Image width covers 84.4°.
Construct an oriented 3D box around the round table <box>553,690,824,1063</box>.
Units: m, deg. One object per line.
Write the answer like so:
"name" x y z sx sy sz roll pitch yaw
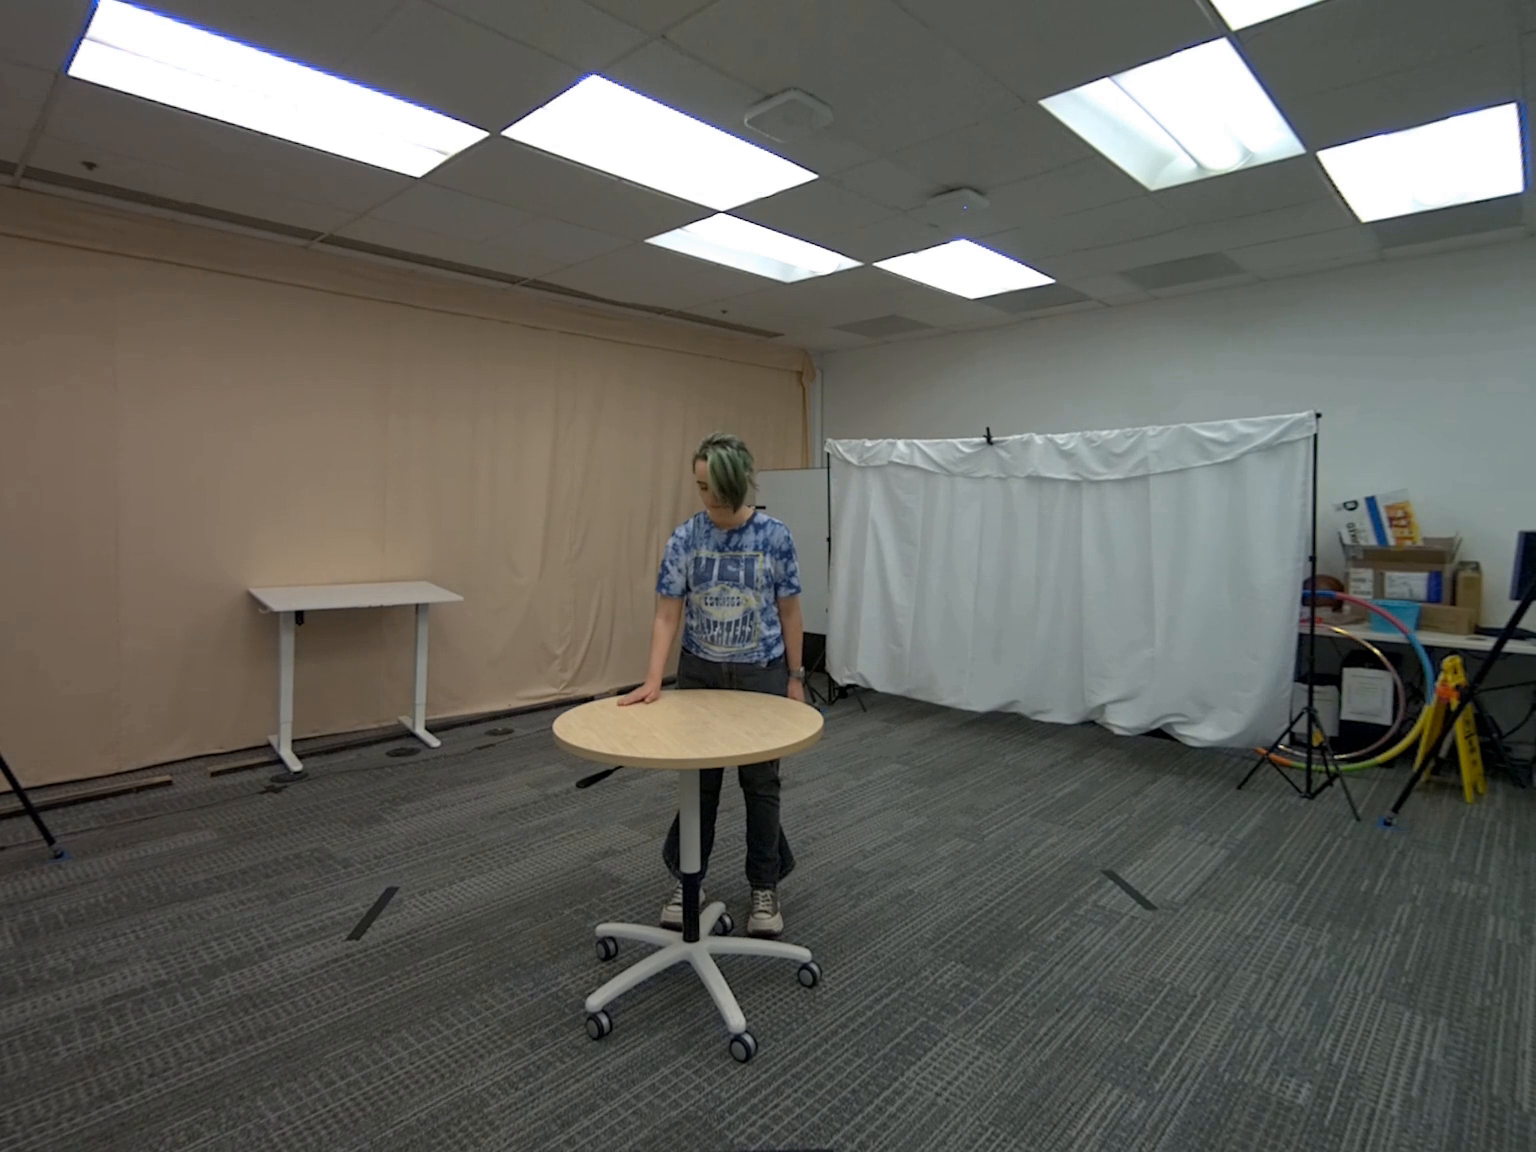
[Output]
"round table" -0.233 0.796 2.434 0.784 0.785 0.788 0 4 -2
